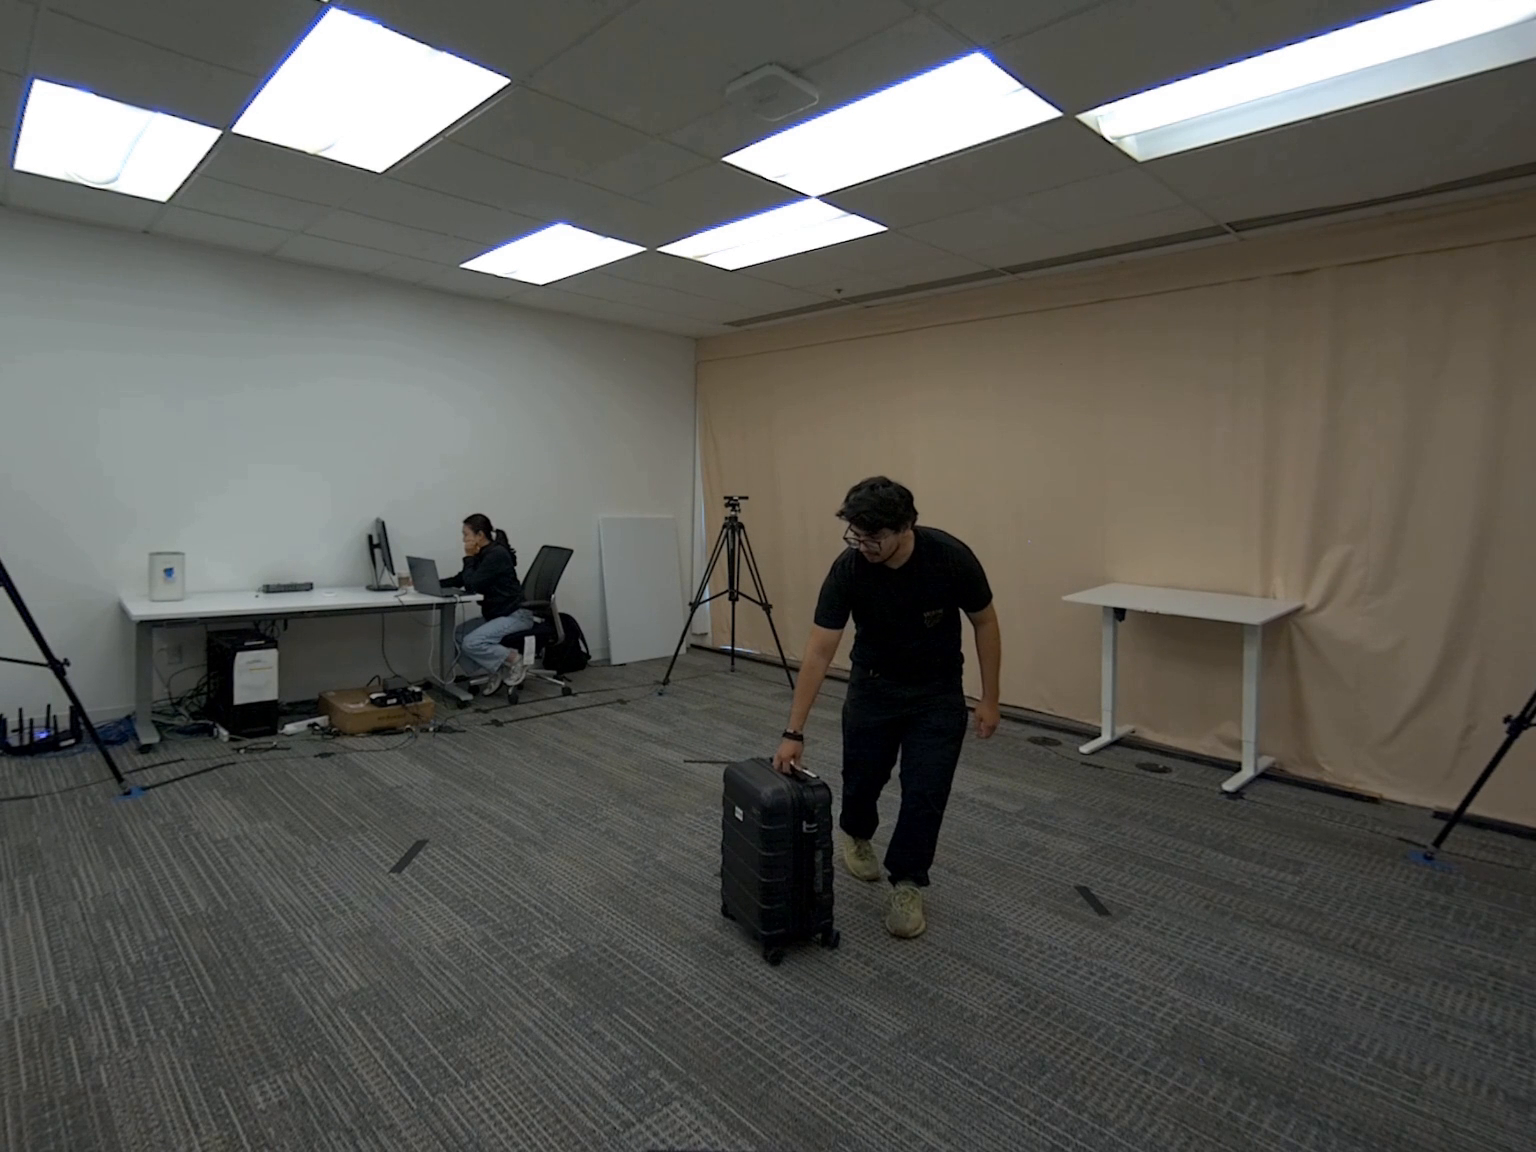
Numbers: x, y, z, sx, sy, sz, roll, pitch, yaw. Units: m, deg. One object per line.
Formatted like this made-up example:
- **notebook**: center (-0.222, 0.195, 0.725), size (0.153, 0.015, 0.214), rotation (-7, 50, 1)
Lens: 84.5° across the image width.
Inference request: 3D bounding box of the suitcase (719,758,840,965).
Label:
- **suitcase**: center (0.016, 0.874, 2.664), size (0.244, 0.547, 0.384), rotation (-3, 6, -28)
